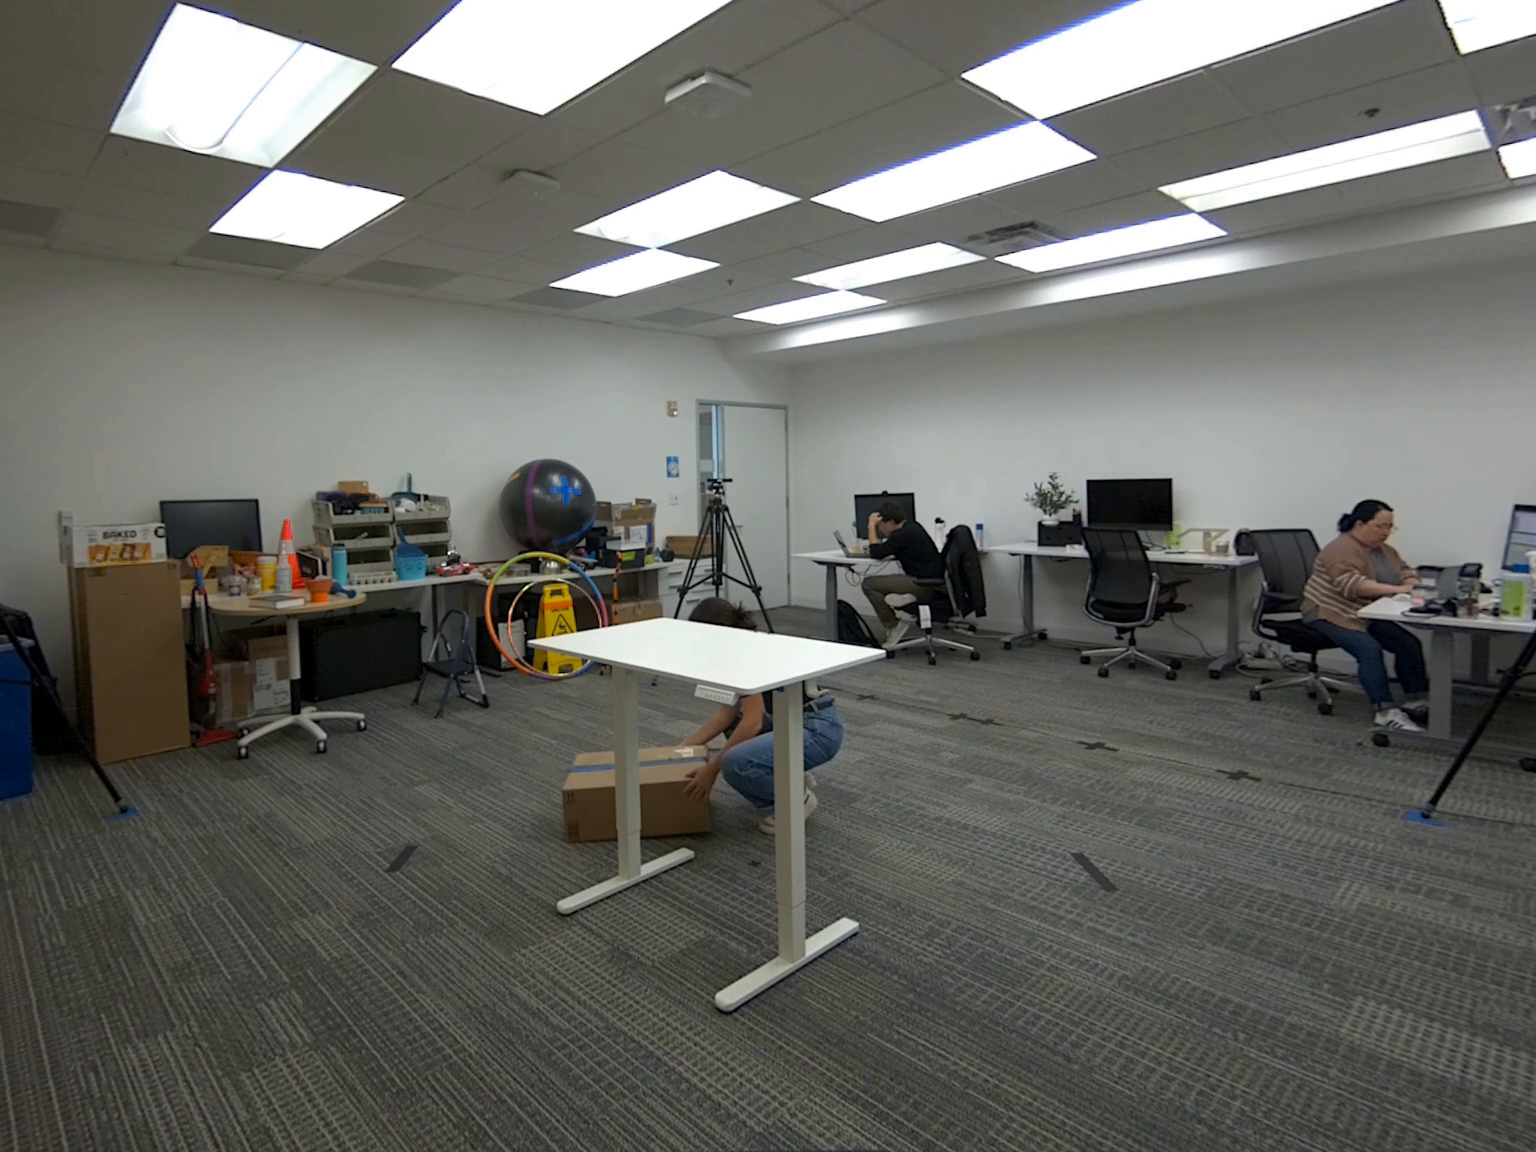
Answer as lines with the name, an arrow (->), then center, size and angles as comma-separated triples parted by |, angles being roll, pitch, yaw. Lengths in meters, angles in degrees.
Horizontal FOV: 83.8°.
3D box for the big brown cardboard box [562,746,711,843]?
big brown cardboard box -> -0.521, 0.883, 3.513 | 0.587, 0.232, 0.421 | -5, 7, -3
